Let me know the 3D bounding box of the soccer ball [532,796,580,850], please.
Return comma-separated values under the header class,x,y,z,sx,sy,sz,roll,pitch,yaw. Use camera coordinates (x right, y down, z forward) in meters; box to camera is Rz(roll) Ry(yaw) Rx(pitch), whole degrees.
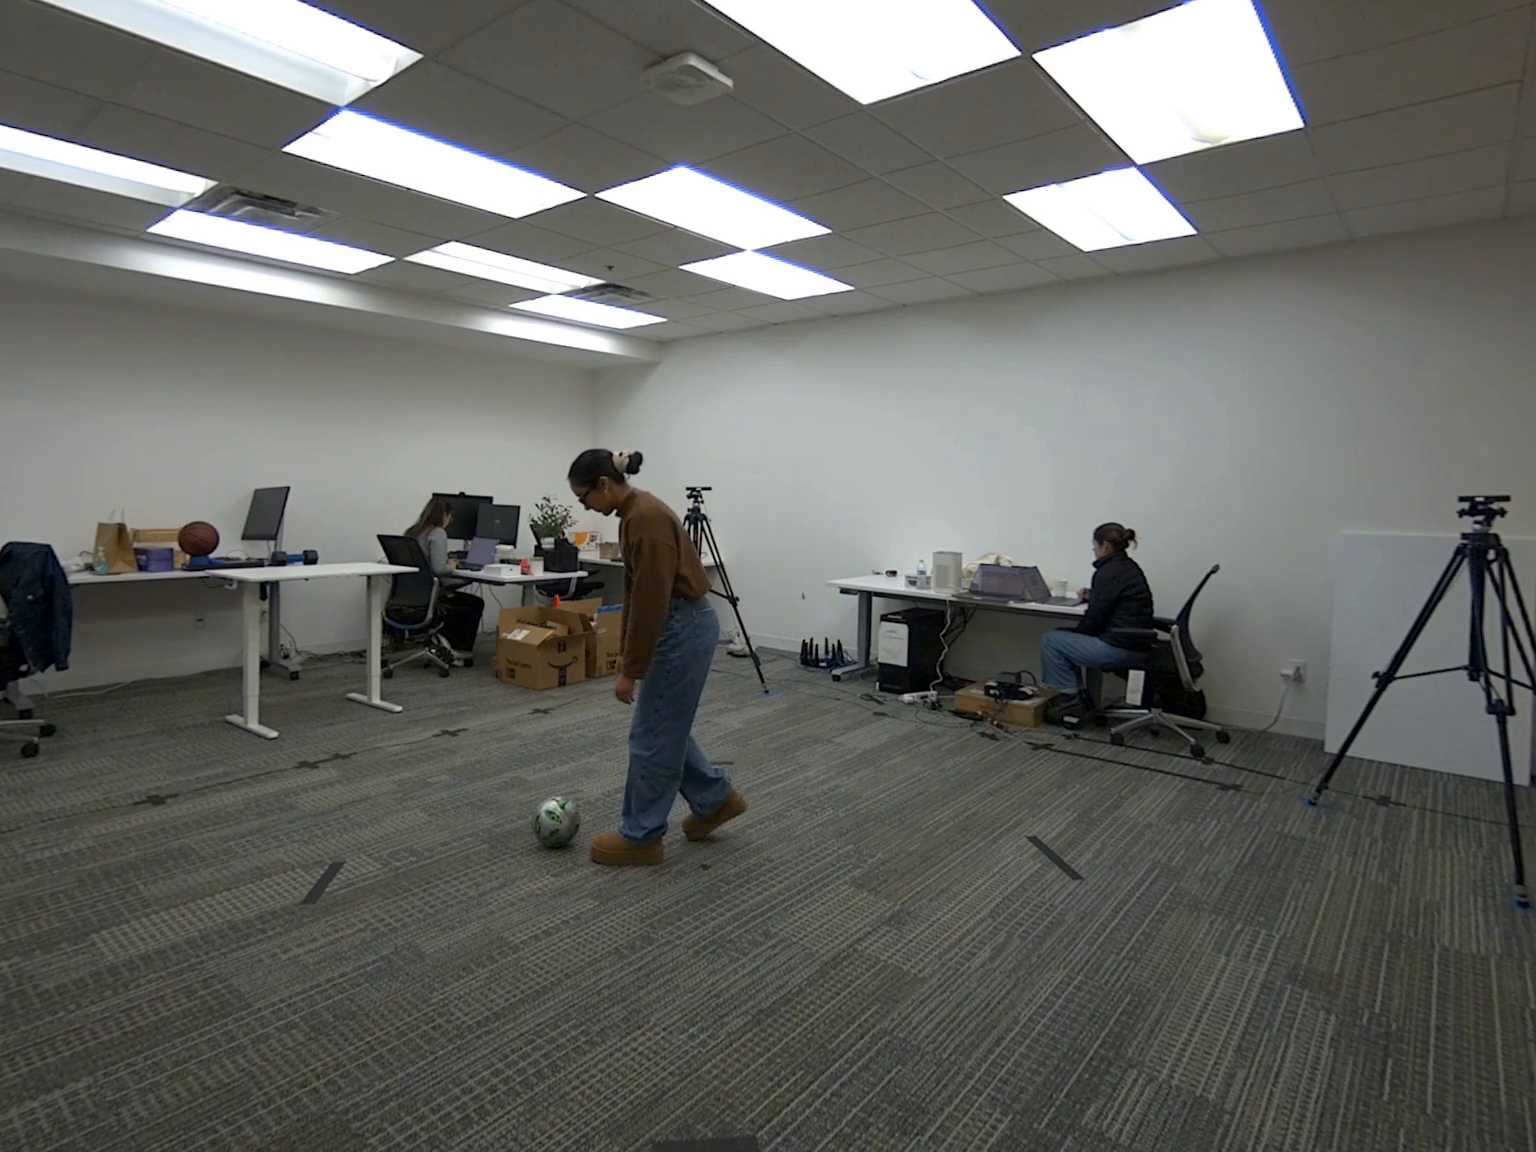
class,x,y,z,sx,sy,sz,roll,pitch,yaw
soccer ball,-0.831,0.945,3.296,0.187,0.187,0.188,1,4,-2
